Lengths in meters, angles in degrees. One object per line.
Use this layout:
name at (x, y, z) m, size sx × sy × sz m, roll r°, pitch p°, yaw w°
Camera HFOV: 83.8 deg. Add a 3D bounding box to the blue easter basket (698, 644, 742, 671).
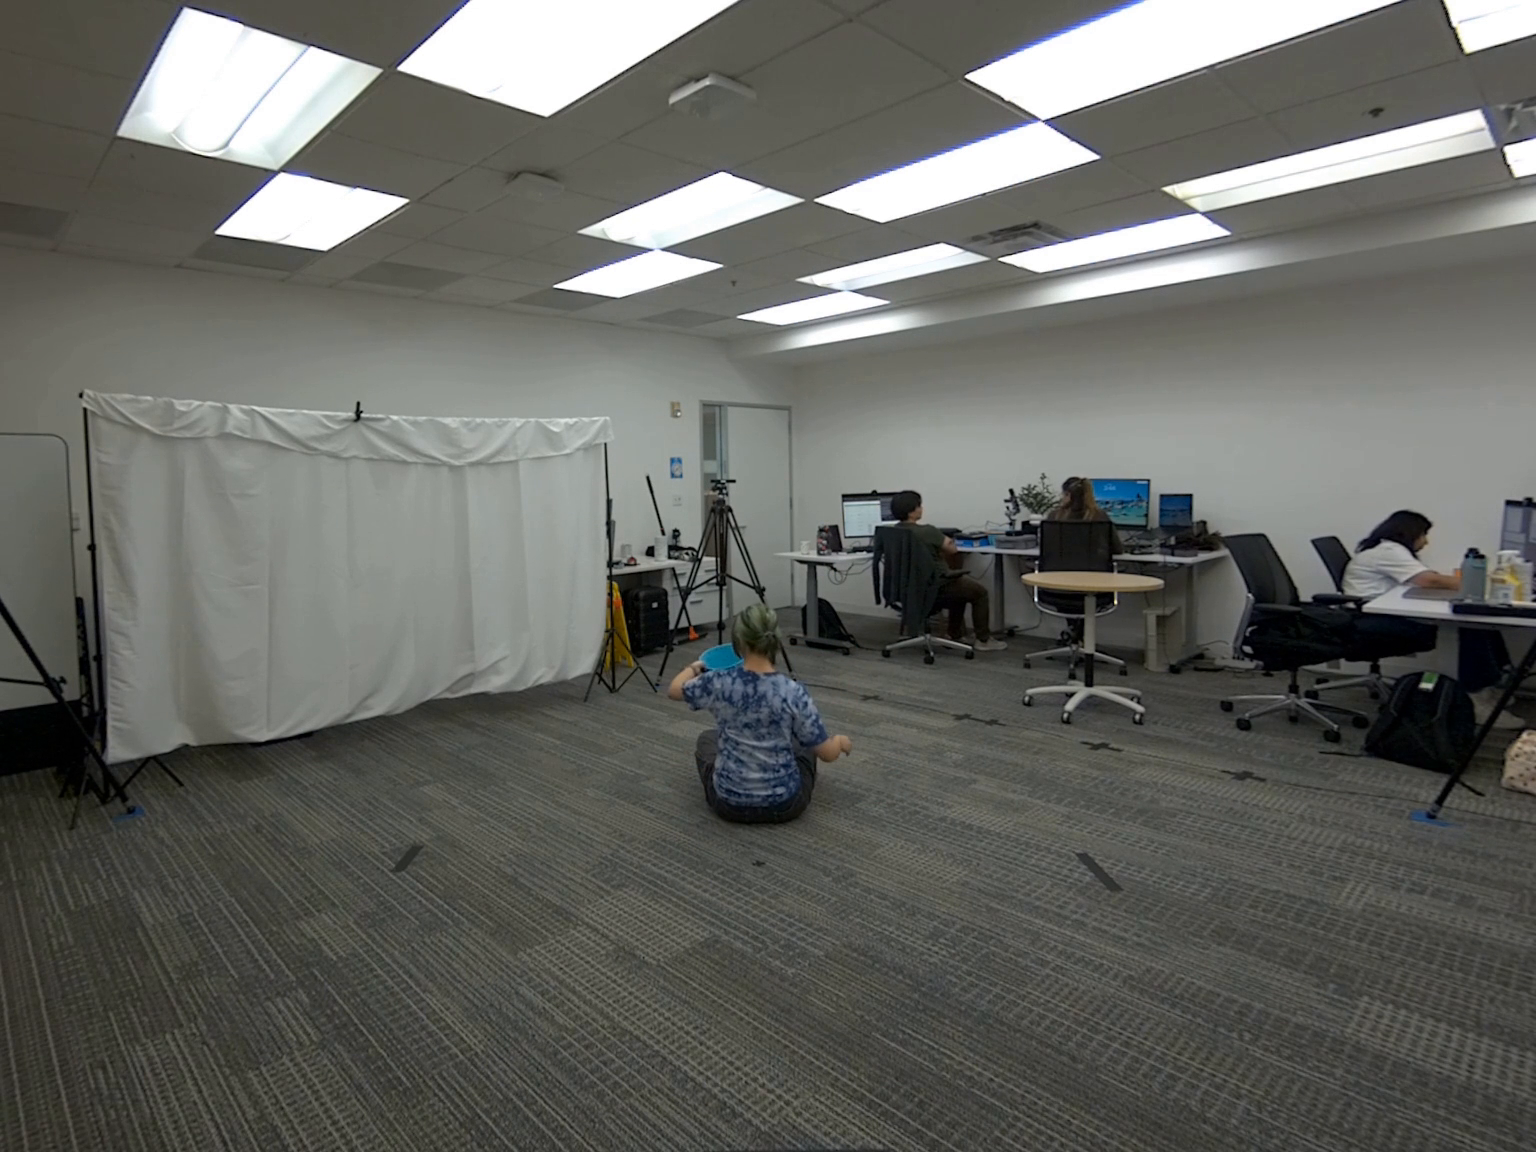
blue easter basket at (-0.194, 0.459, 4.062) m, size 0.244 × 0.152 × 0.248 m, roll -12°, pitch 23°, yaw 3°
